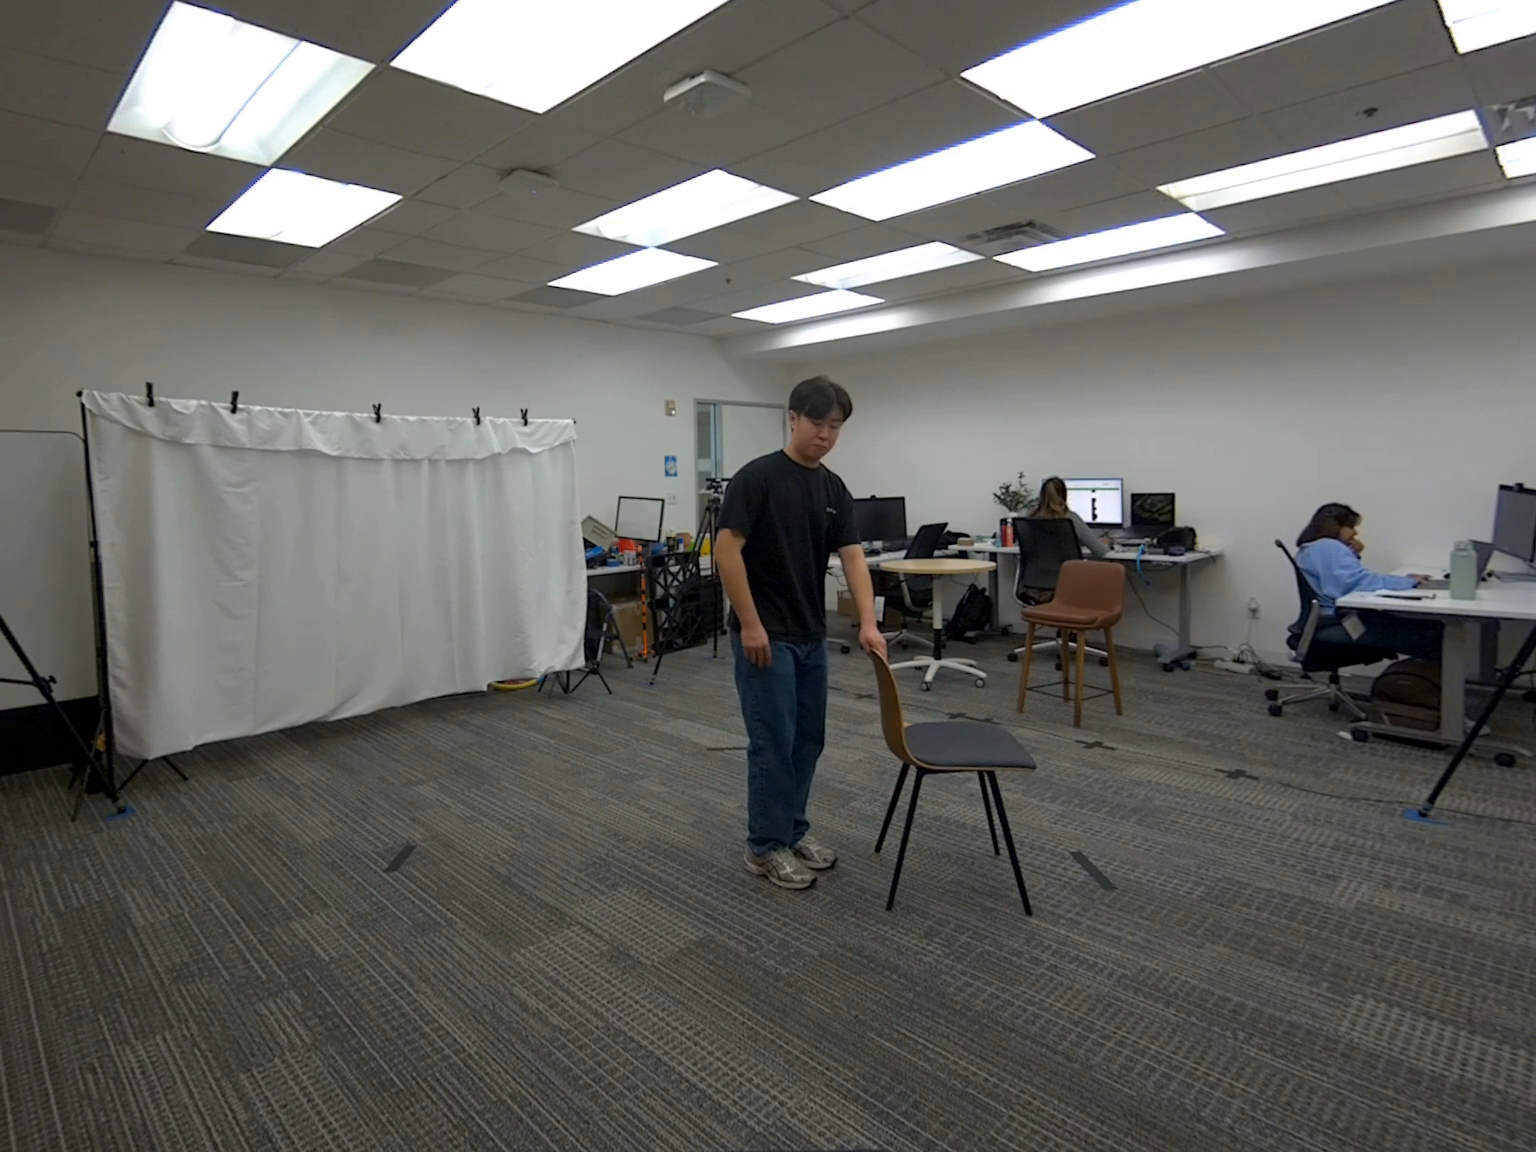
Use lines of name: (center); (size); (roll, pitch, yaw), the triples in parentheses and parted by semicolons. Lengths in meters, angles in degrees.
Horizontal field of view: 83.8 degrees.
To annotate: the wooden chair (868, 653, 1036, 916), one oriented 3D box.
wooden chair: (0.620, 0.618, 2.915); (0.525, 0.875, 0.477); (-5, 3, 4)
